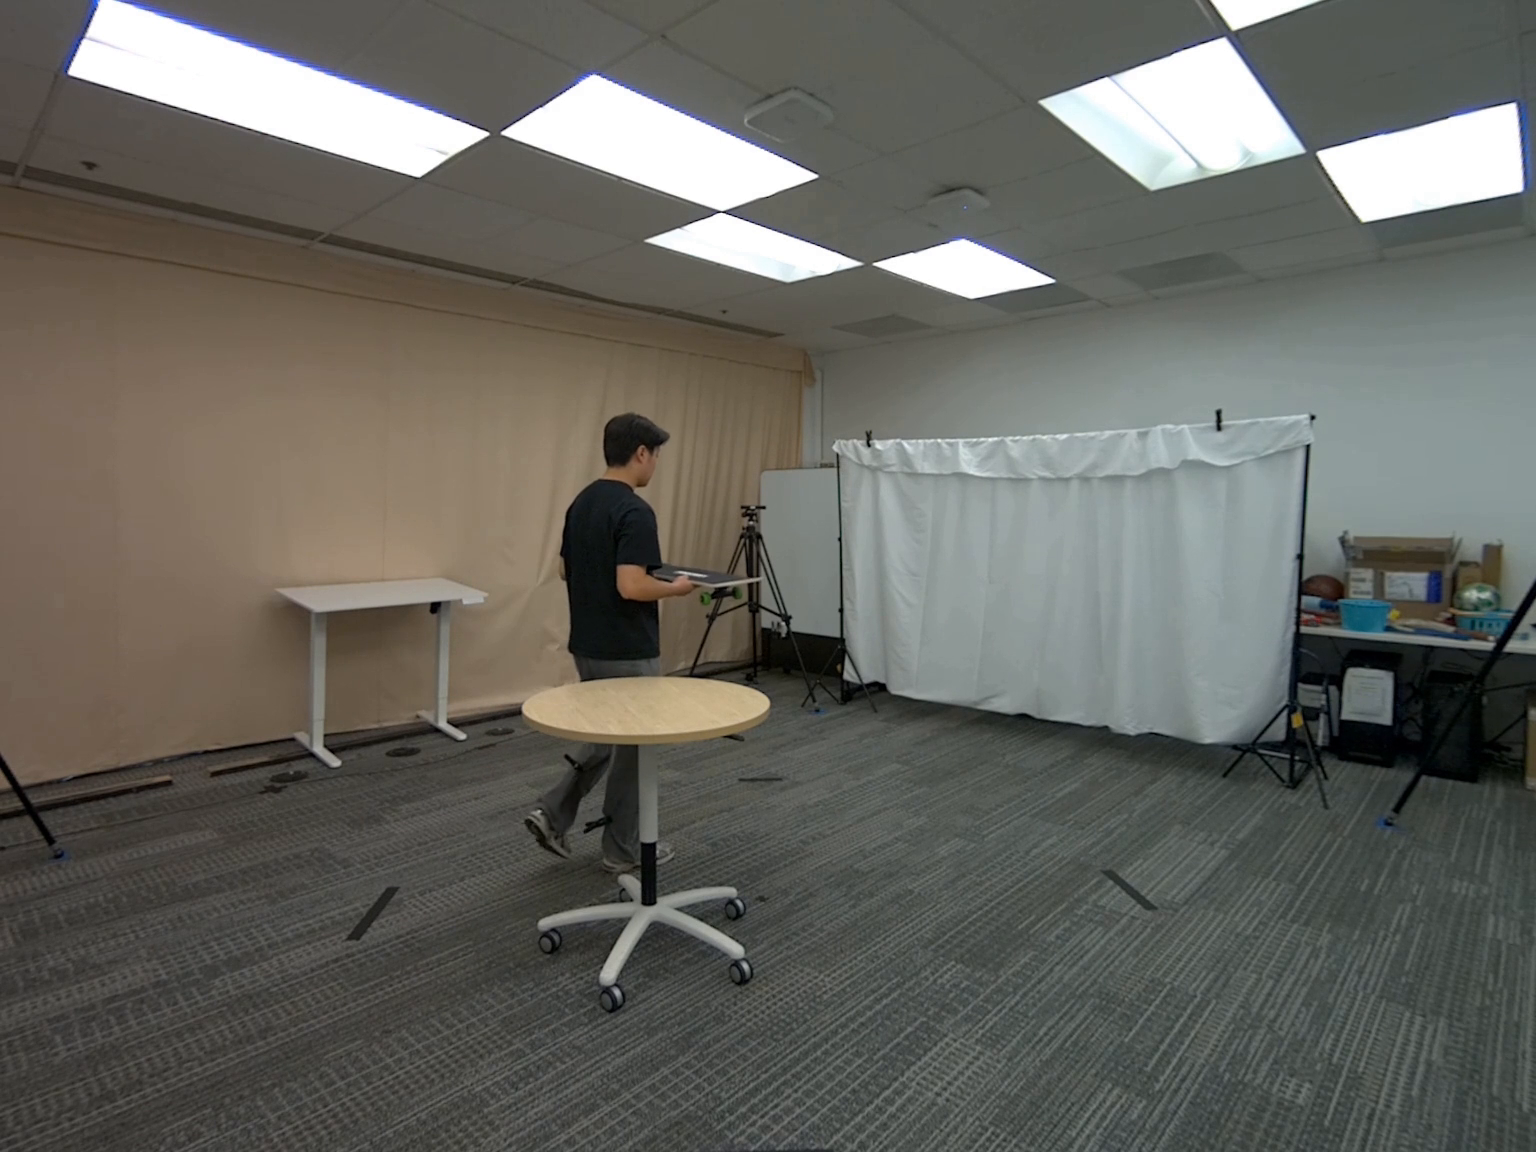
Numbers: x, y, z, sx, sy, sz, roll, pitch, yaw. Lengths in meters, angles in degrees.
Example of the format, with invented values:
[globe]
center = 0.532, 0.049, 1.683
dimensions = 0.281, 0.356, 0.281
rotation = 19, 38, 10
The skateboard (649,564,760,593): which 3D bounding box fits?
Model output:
[skateboard]
center = -0.312, 0.025, 3.371
dimensions = 0.188, 0.110, 0.812
rotation = -10, 12, -42
